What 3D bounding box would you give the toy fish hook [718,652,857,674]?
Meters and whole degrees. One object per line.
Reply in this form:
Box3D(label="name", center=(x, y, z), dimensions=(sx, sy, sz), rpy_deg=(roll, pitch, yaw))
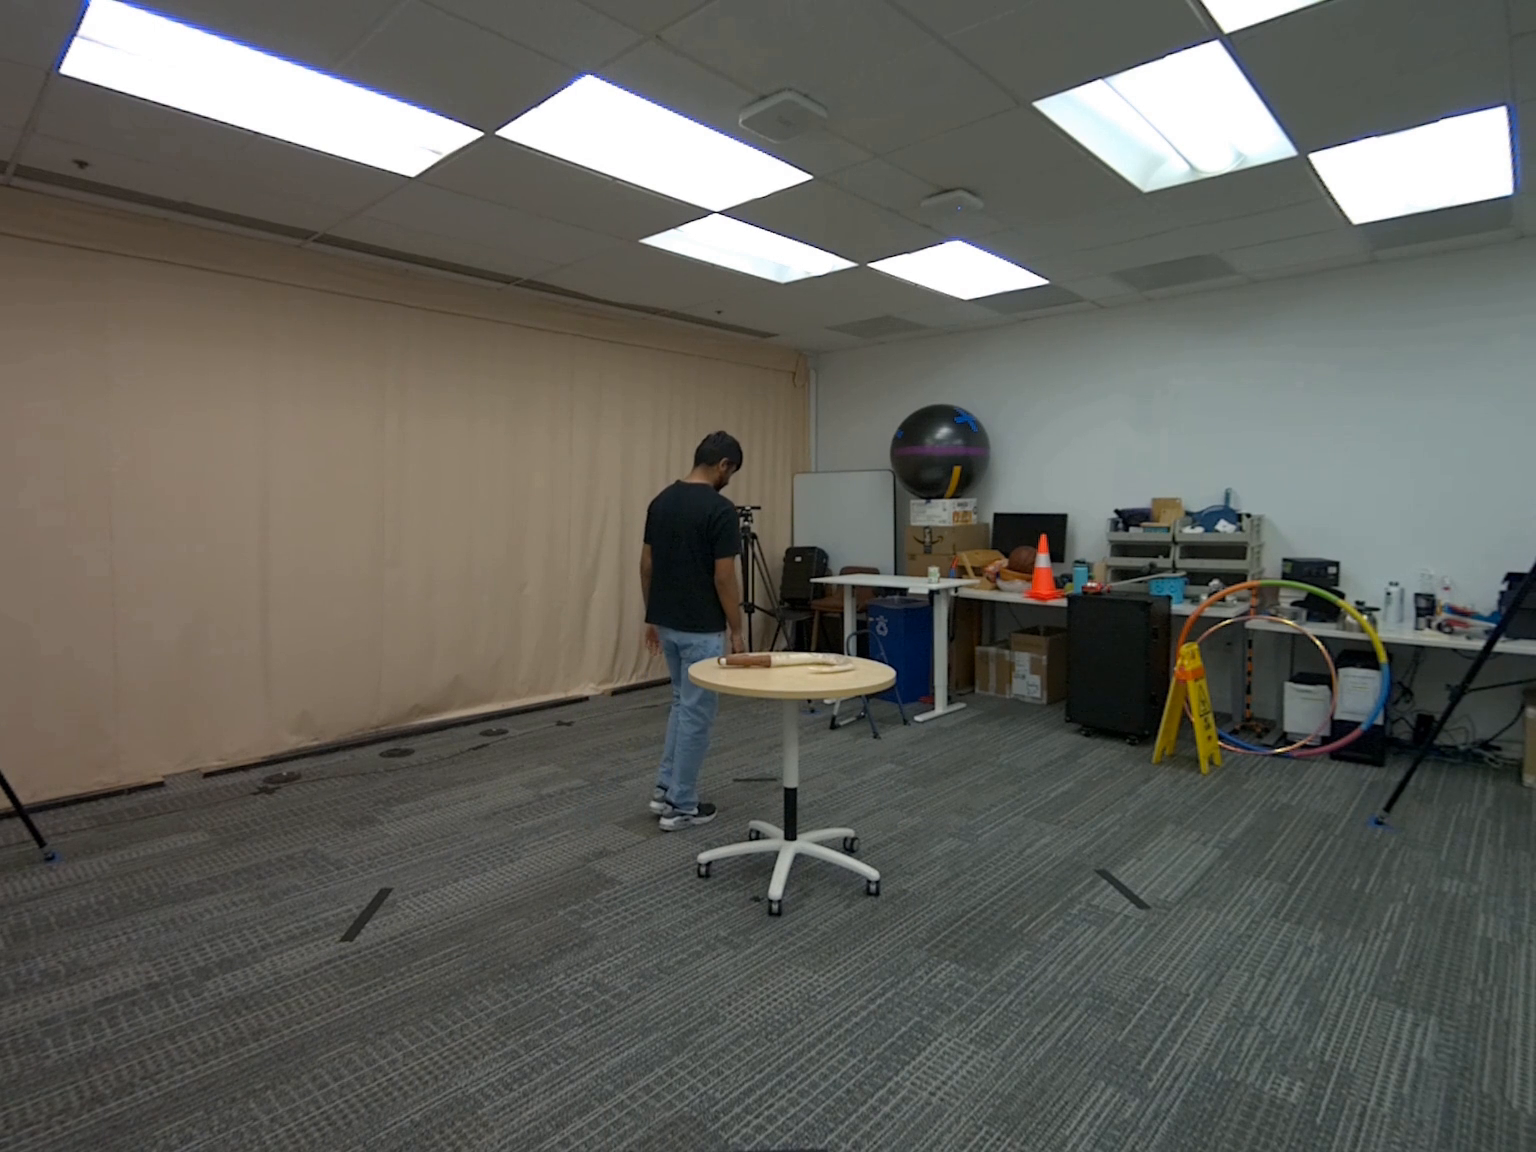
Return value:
Box3D(label="toy fish hook", center=(0.073, 0.329, 3.128), dimensions=(0.502, 0.048, 0.227), rpy_deg=(0, 2, -8))
